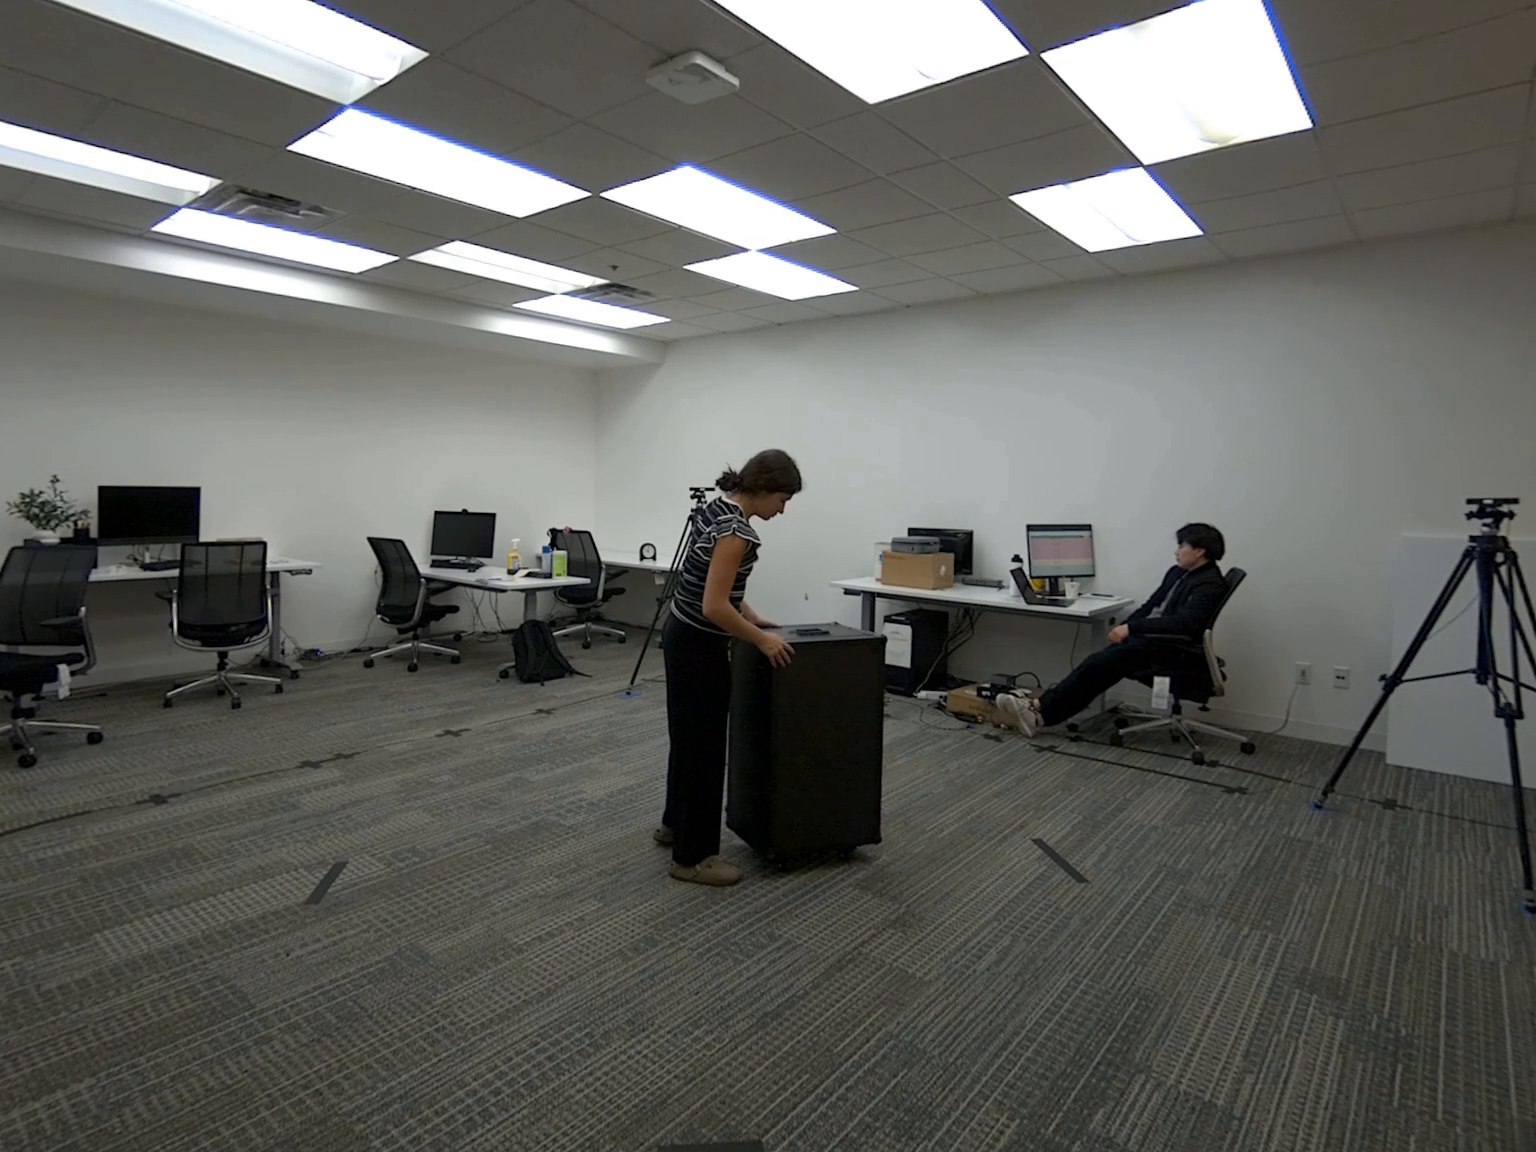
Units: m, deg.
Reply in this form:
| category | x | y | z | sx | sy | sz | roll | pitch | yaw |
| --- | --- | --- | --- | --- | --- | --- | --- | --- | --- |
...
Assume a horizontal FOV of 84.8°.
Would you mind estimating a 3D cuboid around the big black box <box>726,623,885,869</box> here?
| category | x | y | z | sx | sy | sz | roll | pitch | yaw |
| --- | --- | --- | --- | --- | --- | --- | --- | --- | --- |
| big black box | 0.127 | 0.633 | 3.262 | 0.509 | 0.860 | 0.407 | 0 | 3 | -25 |
